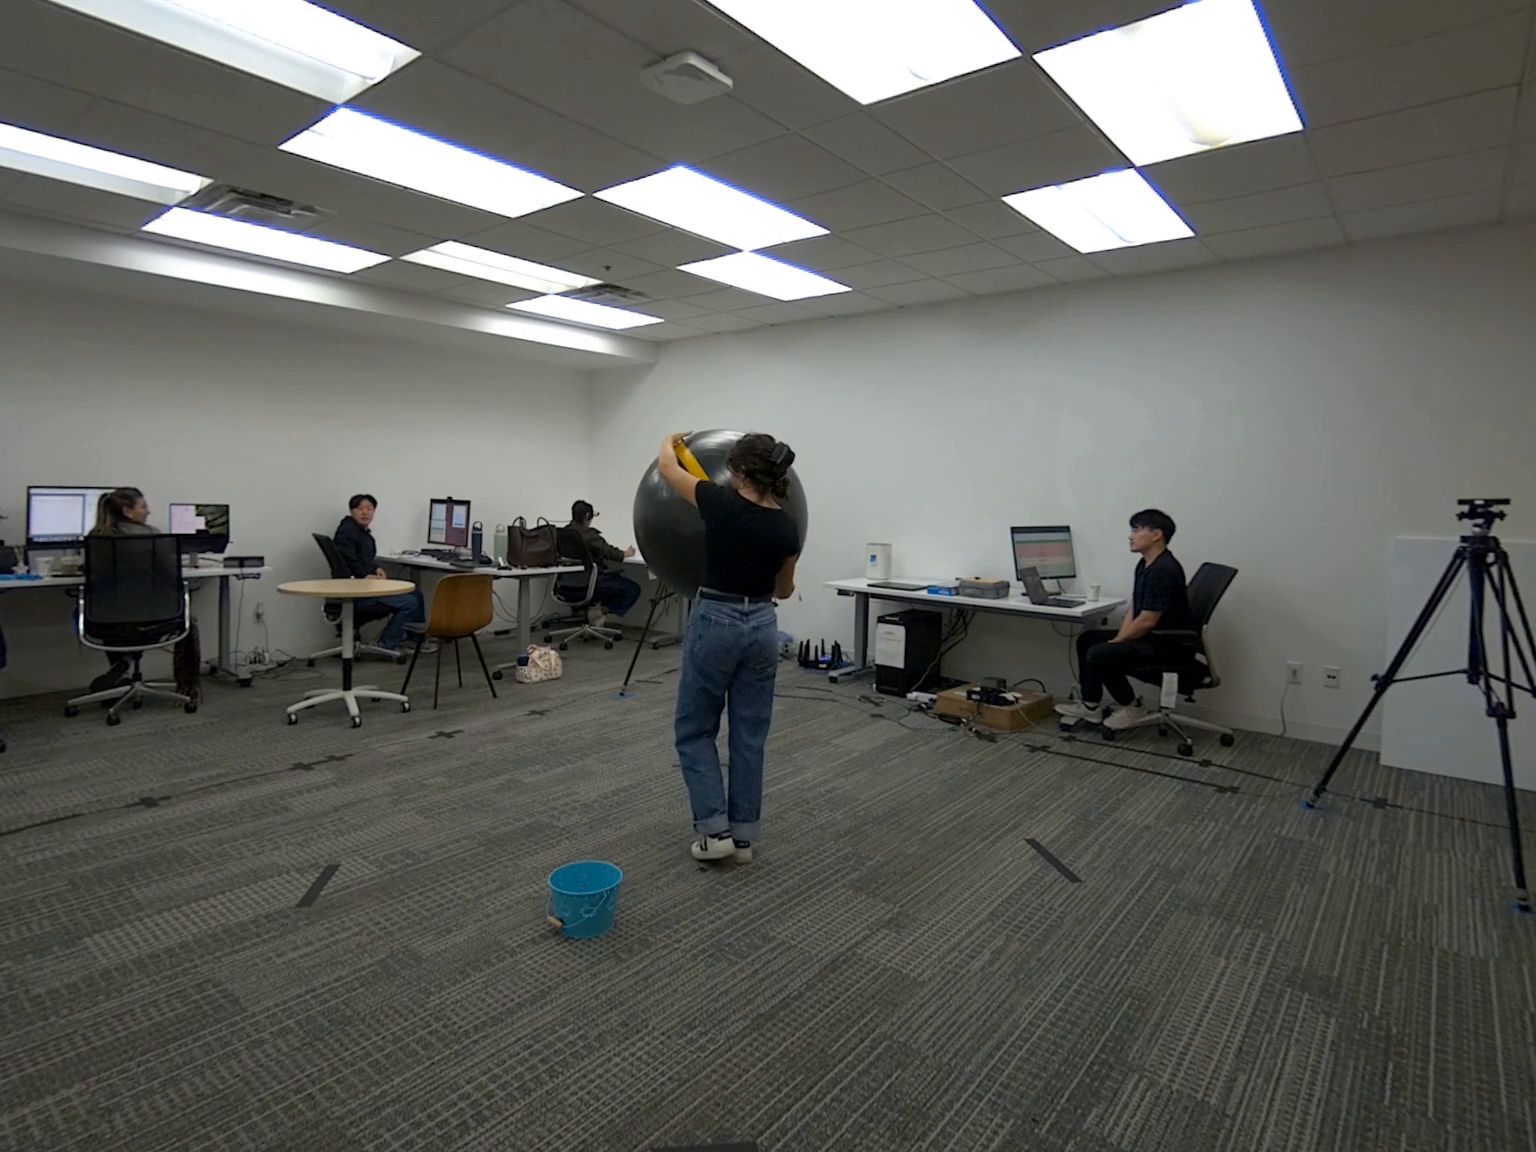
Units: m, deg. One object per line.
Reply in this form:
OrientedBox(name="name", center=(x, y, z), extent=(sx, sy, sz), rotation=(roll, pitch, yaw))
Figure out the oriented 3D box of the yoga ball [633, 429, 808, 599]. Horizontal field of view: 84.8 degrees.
OrientedBox(name="yoga ball", center=(-0.220, -0.261, 3.700), extent=(0.757, 0.755, 0.762), rotation=(1, 4, -2))
